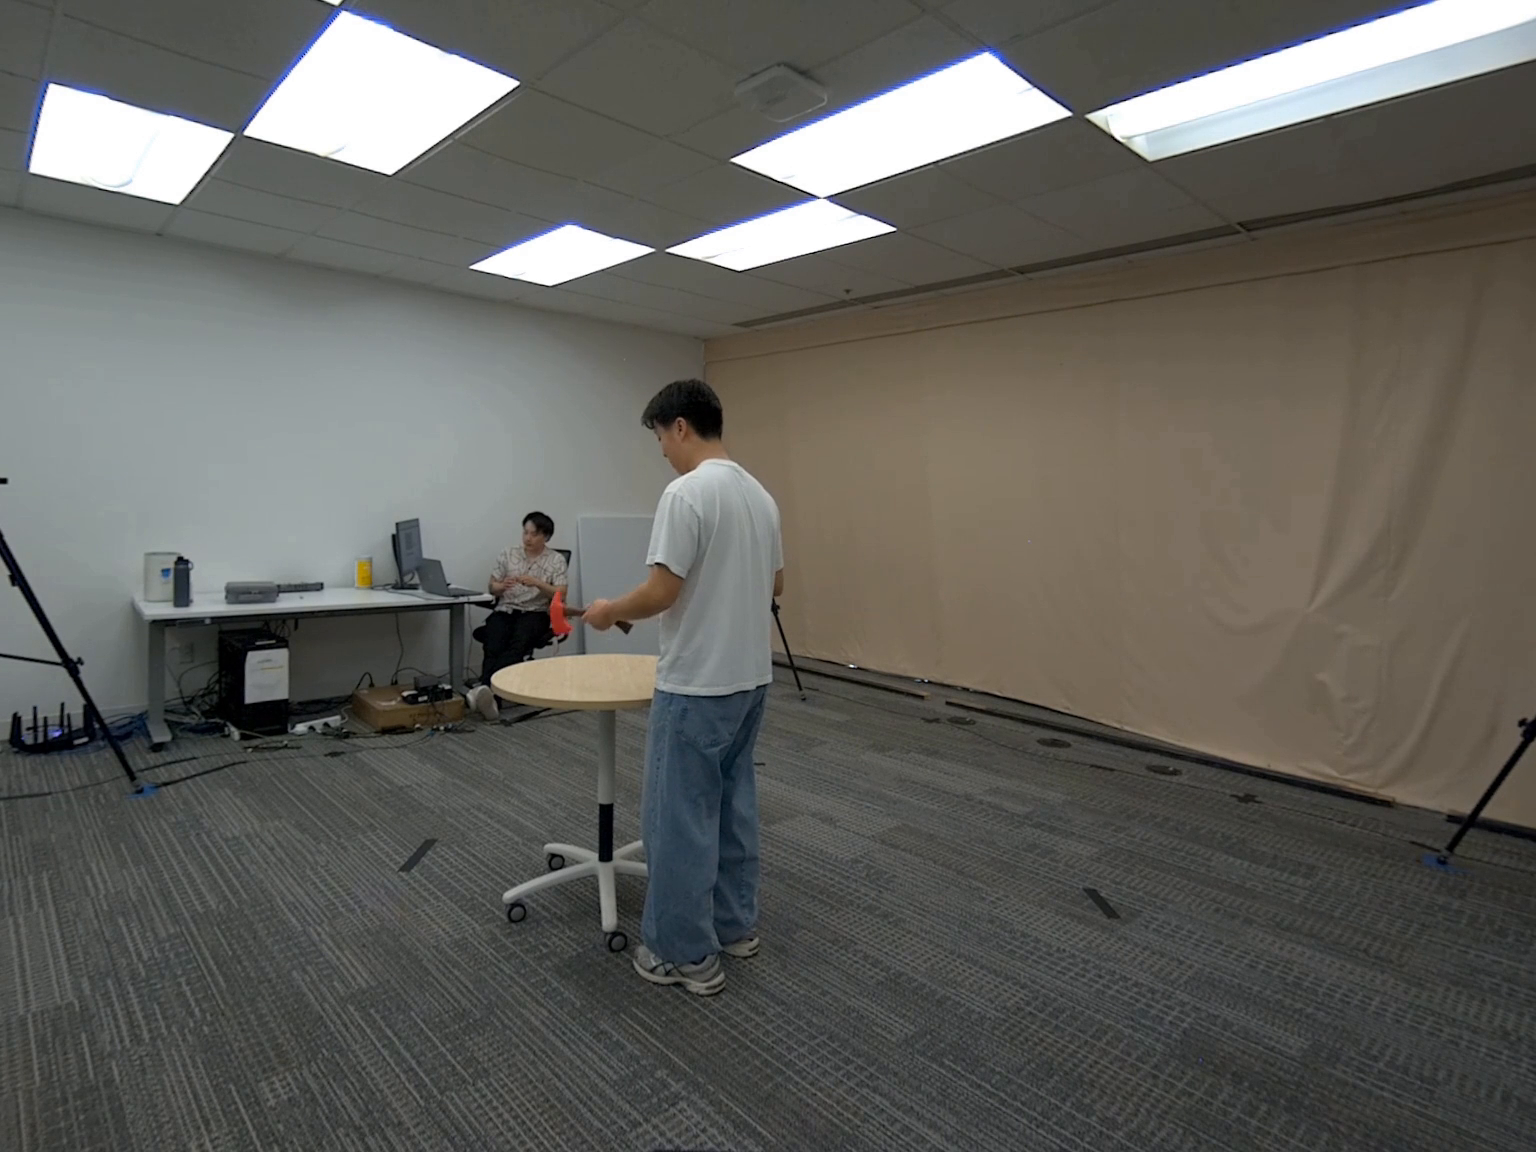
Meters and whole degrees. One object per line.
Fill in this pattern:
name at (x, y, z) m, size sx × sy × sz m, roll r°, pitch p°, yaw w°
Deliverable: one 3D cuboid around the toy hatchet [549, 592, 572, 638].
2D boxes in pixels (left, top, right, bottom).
toy hatchet at (-0.515, 0.114, 2.546) m, size 0.274 × 0.131 × 0.029 m, roll 21°, pitch 4°, yaw 15°
